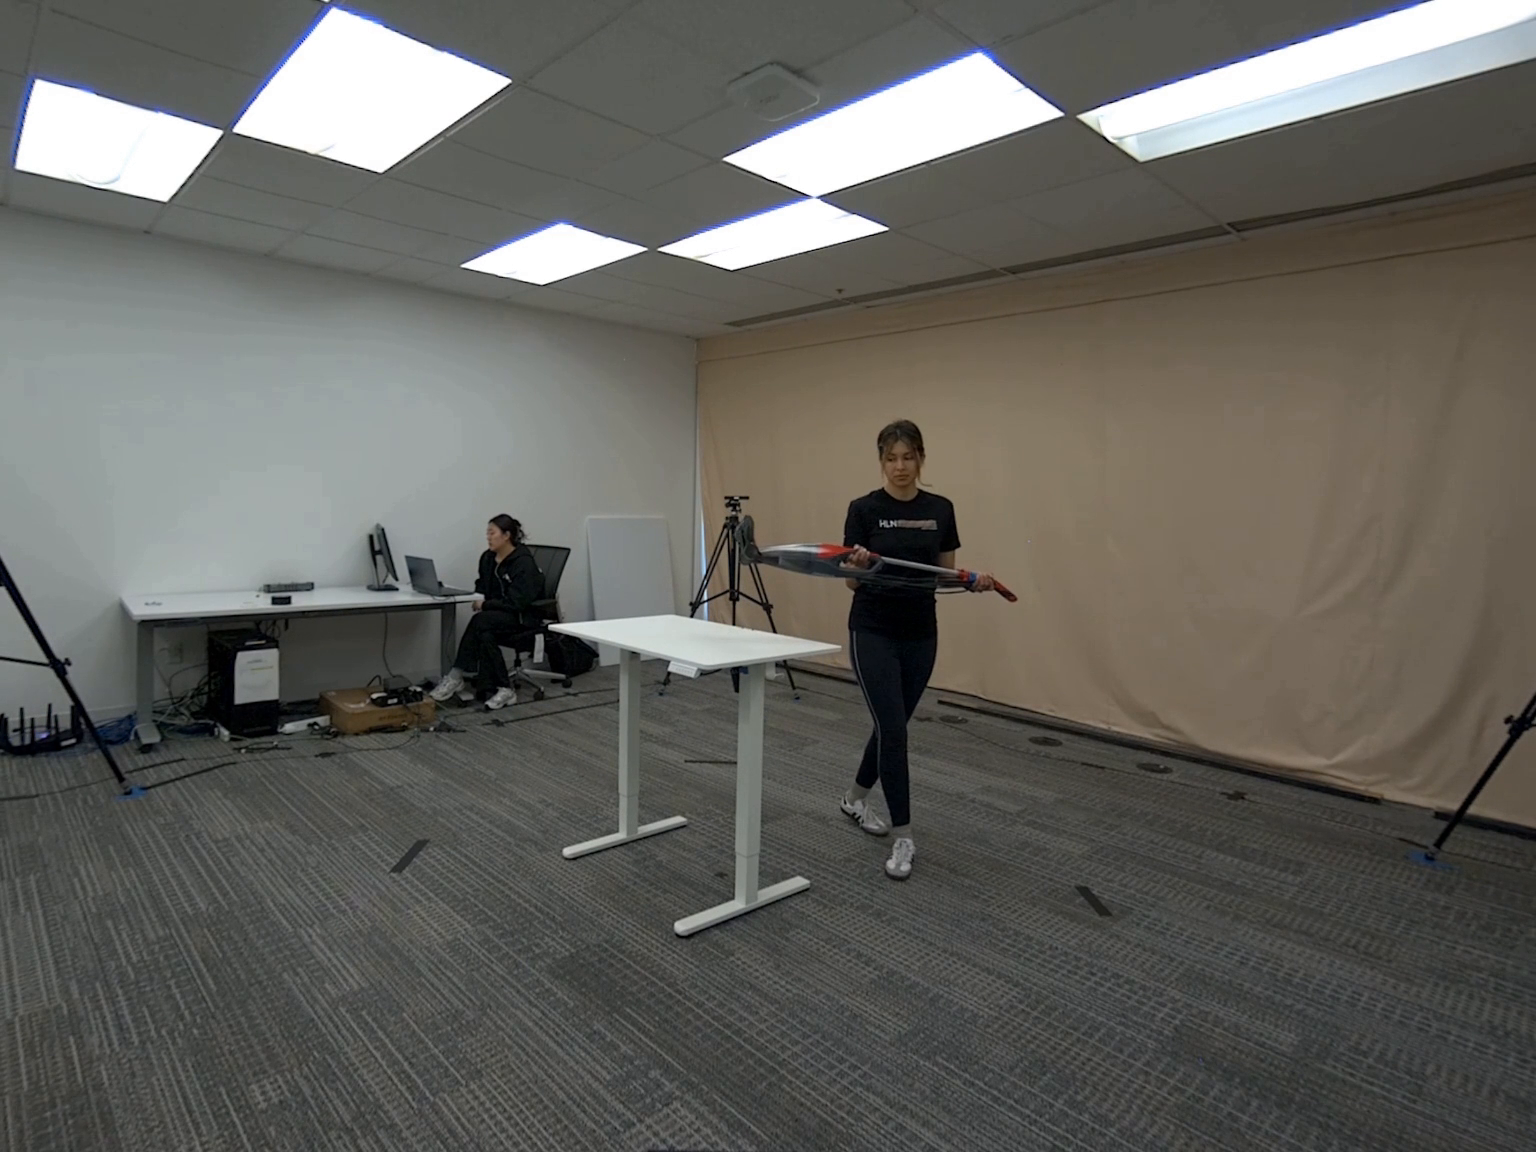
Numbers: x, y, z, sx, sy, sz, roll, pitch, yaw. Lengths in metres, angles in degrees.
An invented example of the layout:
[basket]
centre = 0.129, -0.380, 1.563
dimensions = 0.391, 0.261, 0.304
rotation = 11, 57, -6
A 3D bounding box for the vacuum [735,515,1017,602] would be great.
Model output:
[vacuum]
centre = 0.407, -0.028, 3.051
dimensions = 1.045, 0.145, 0.251
rotation = 11, -16, -4
